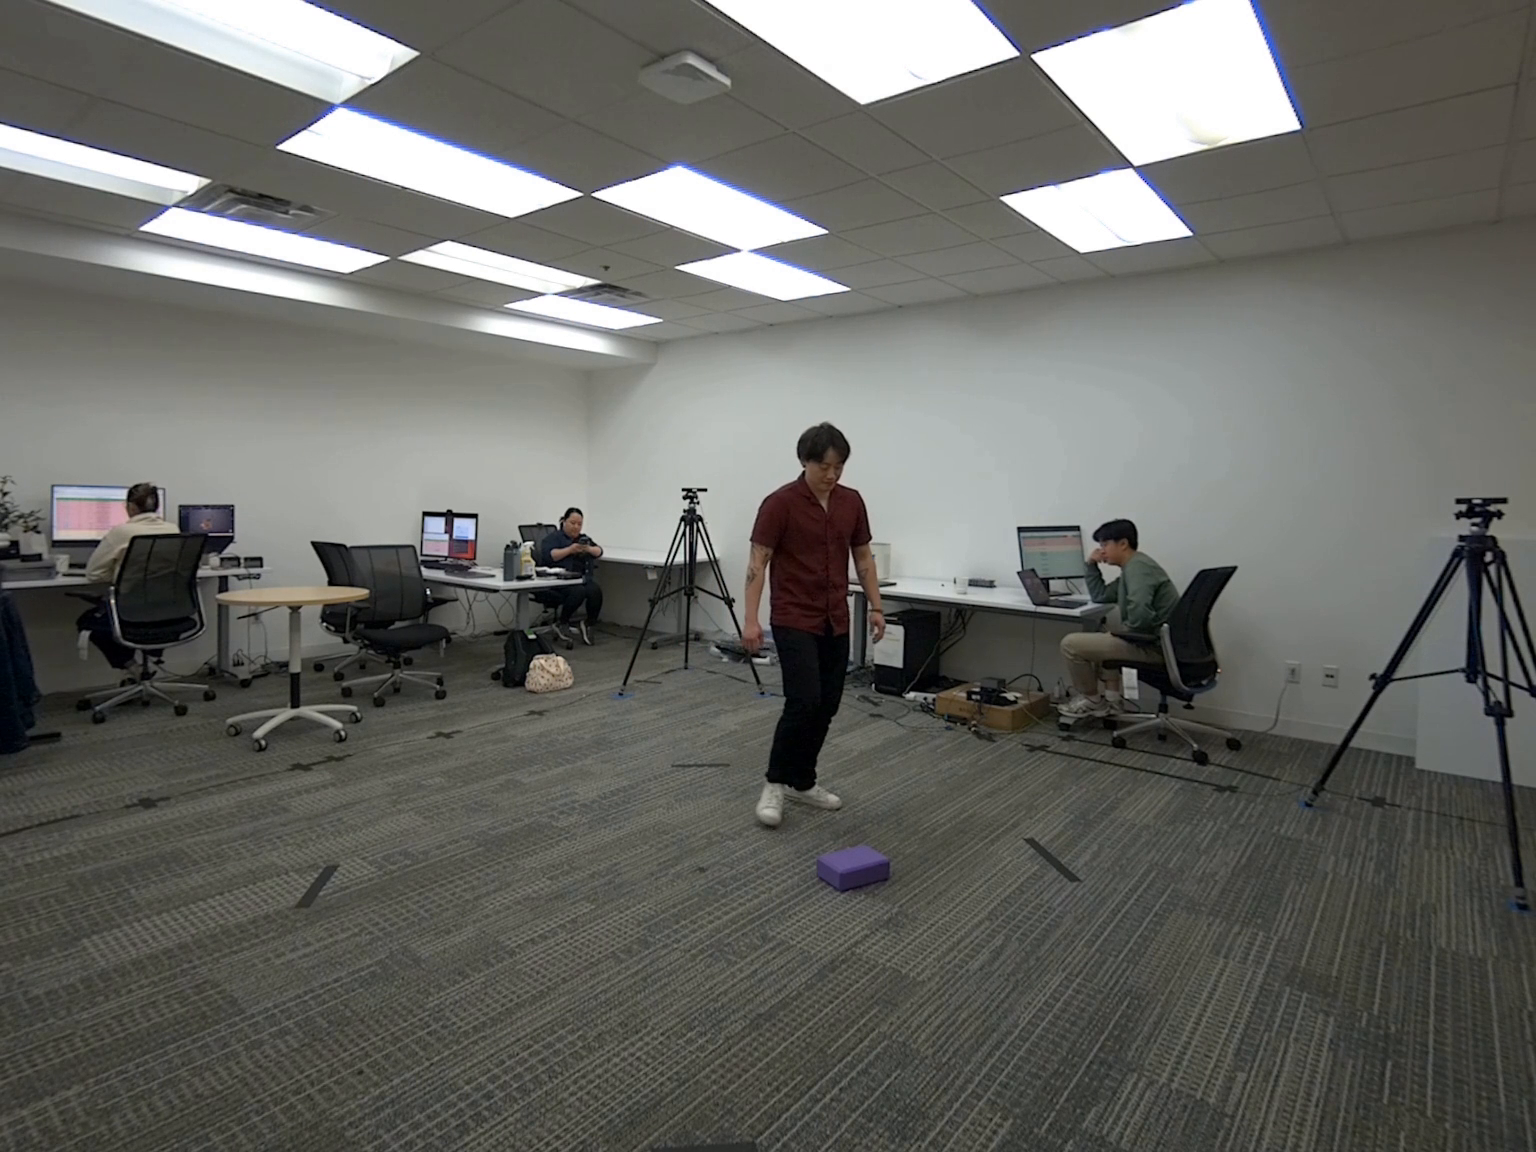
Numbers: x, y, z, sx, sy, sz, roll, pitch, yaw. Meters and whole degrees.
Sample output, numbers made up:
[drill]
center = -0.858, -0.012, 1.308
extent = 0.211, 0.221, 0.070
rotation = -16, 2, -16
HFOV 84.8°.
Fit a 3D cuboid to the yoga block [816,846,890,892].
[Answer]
[yoga block]
center = 0.303, 1.045, 3.065
extent = 0.223, 0.076, 0.154
rotation = -3, 6, -31
